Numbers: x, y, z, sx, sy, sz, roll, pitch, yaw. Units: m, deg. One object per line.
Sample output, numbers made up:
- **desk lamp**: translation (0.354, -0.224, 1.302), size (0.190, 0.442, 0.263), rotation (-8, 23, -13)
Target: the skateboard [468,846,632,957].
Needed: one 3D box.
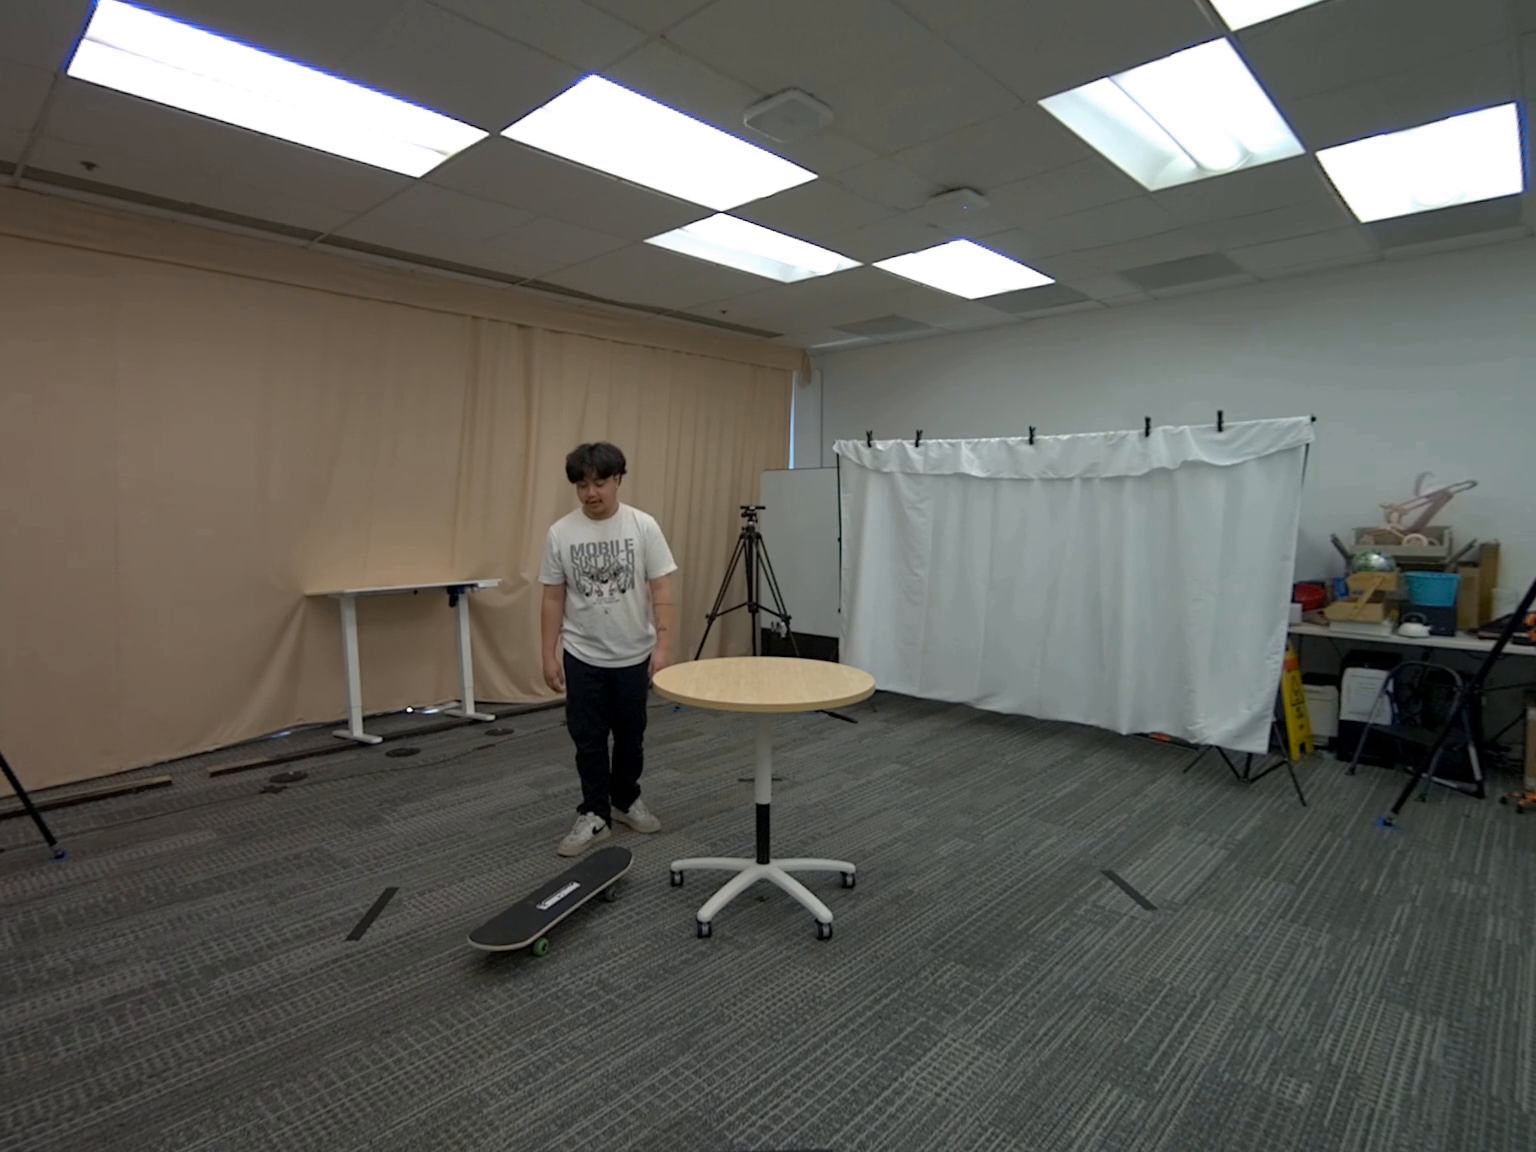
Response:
- **skateboard**: translation (-0.703, 1.103, 2.828), size (0.198, 0.110, 0.768), rotation (1, 4, 23)
